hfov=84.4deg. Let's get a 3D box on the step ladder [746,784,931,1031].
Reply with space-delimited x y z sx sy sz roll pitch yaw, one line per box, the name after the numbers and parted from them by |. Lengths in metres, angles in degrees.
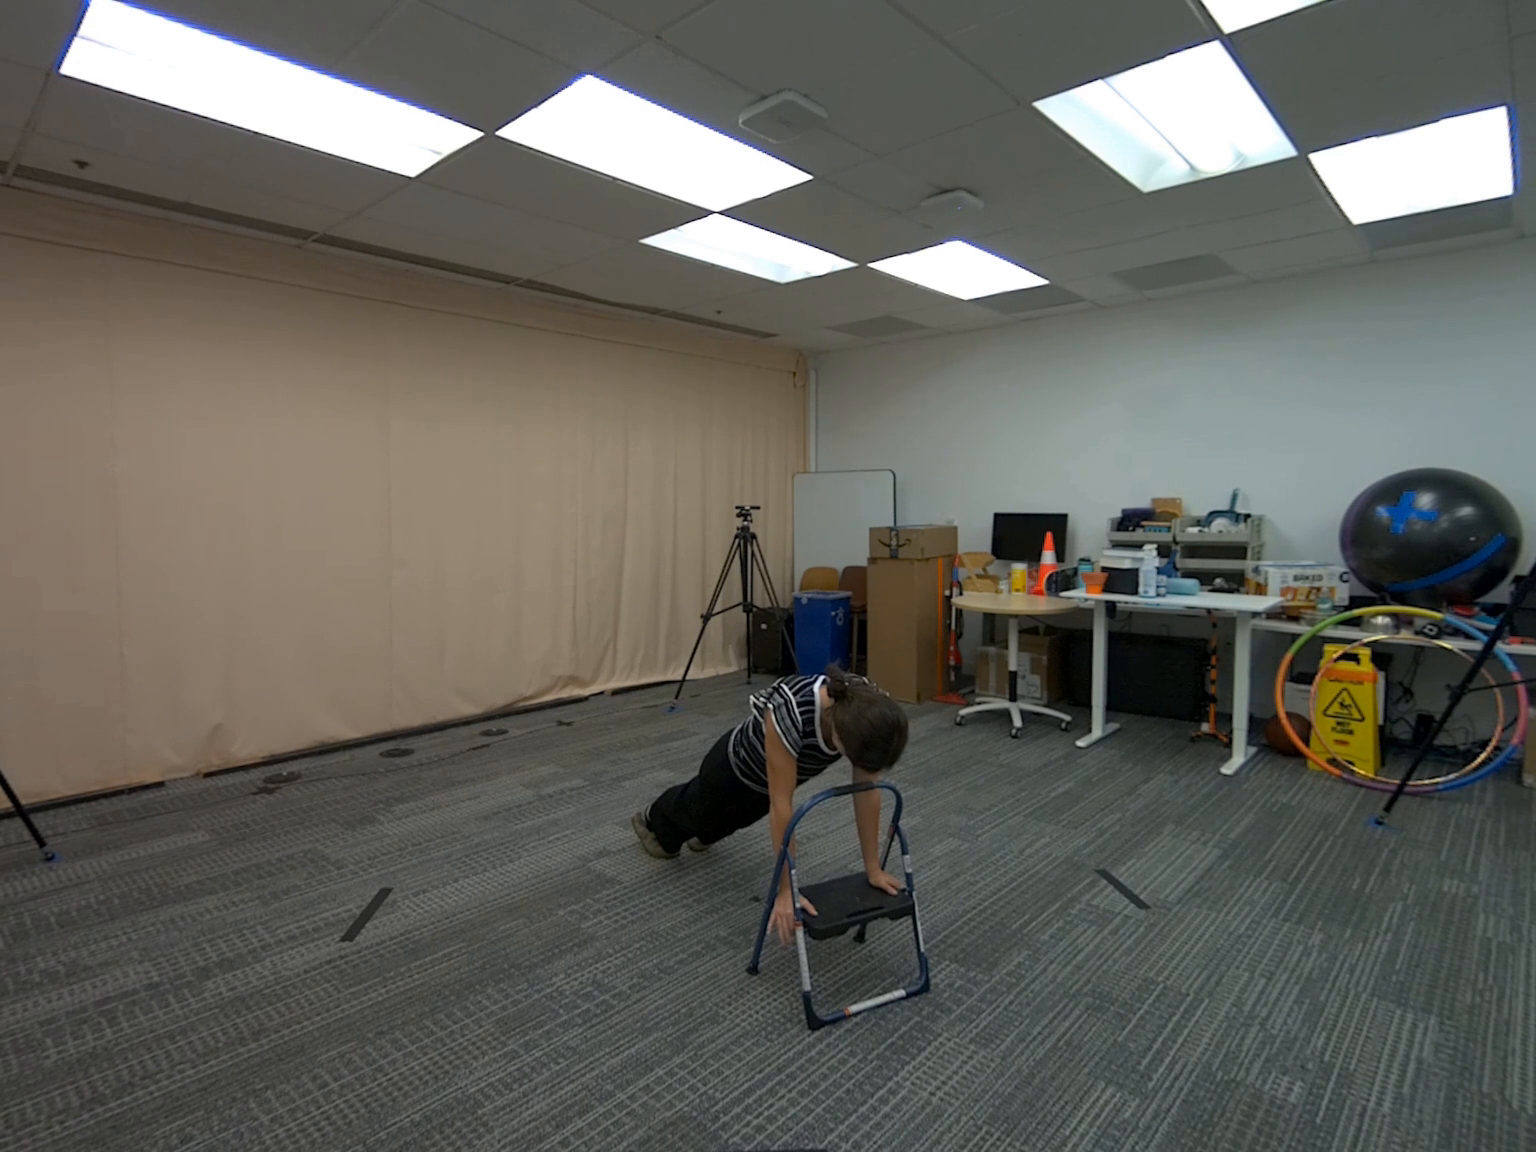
0.211 0.888 2.454 0.419 0.604 0.360 -2 5 -30 | step ladder
